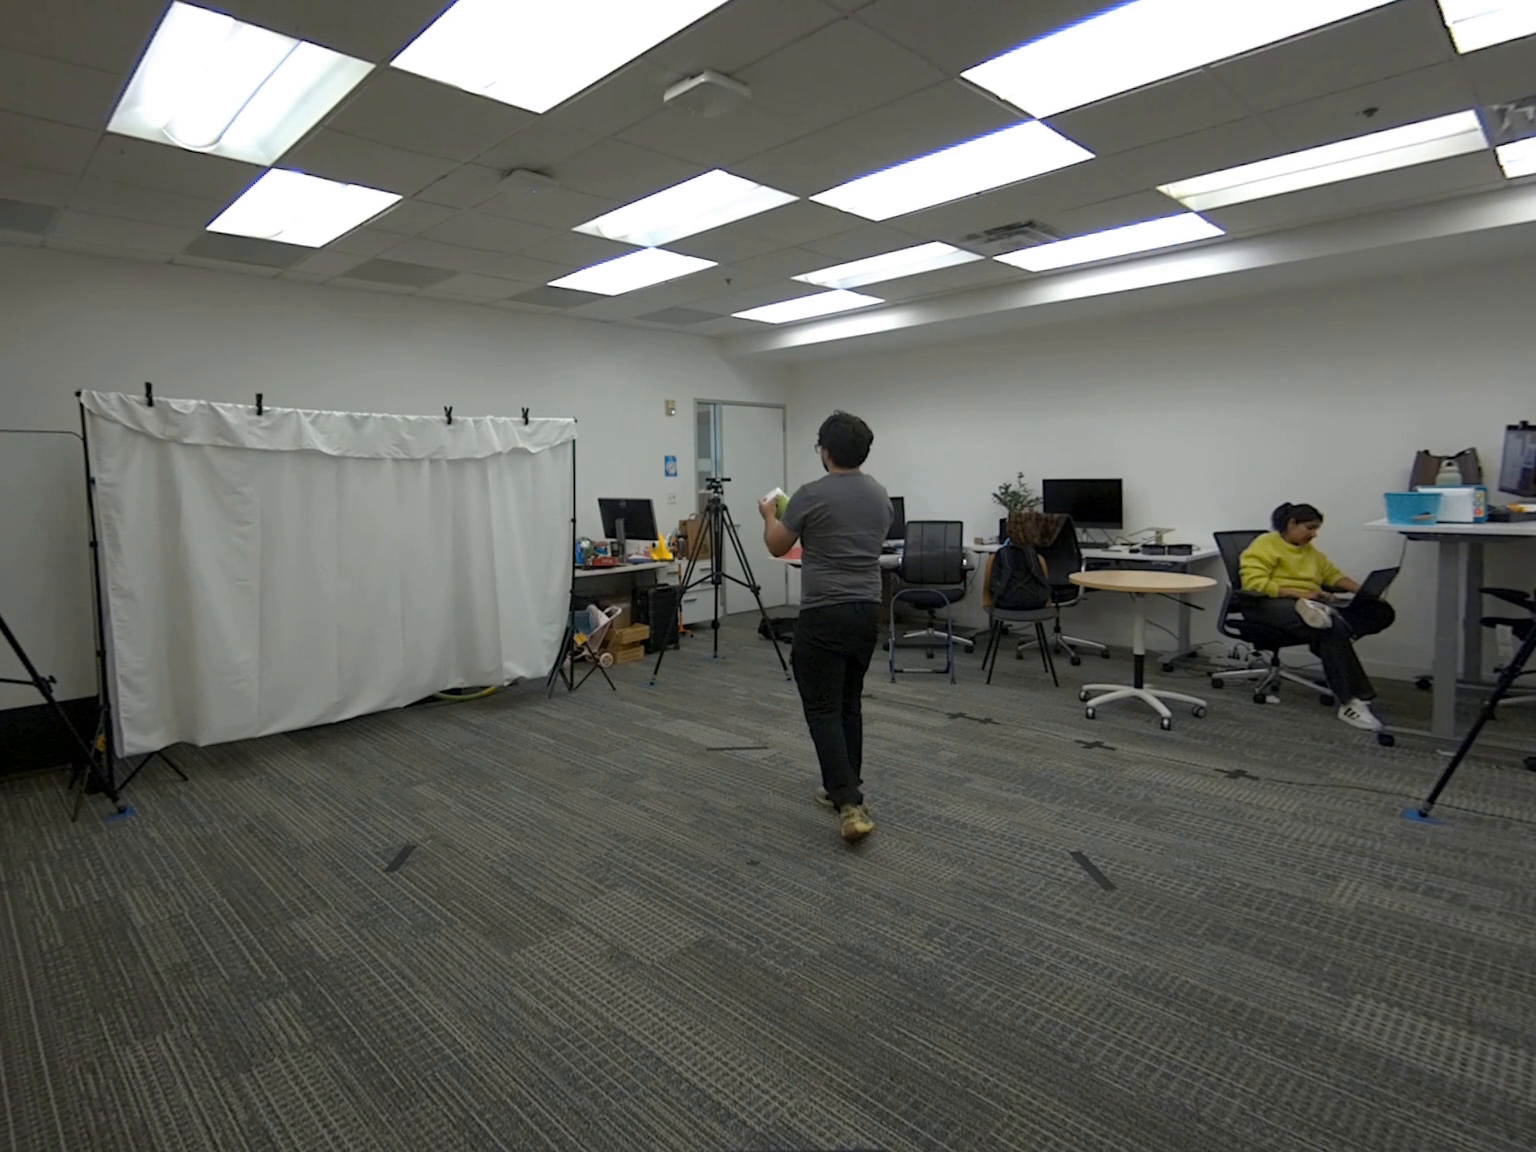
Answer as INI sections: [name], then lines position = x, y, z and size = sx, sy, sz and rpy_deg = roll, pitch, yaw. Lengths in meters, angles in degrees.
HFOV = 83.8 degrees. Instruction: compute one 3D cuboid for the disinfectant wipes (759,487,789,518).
[disinfectant wipes]
position = 0.085, -0.291, 3.839
size = 0.118, 0.214, 0.119
rpy_deg = -43, 13, 11
